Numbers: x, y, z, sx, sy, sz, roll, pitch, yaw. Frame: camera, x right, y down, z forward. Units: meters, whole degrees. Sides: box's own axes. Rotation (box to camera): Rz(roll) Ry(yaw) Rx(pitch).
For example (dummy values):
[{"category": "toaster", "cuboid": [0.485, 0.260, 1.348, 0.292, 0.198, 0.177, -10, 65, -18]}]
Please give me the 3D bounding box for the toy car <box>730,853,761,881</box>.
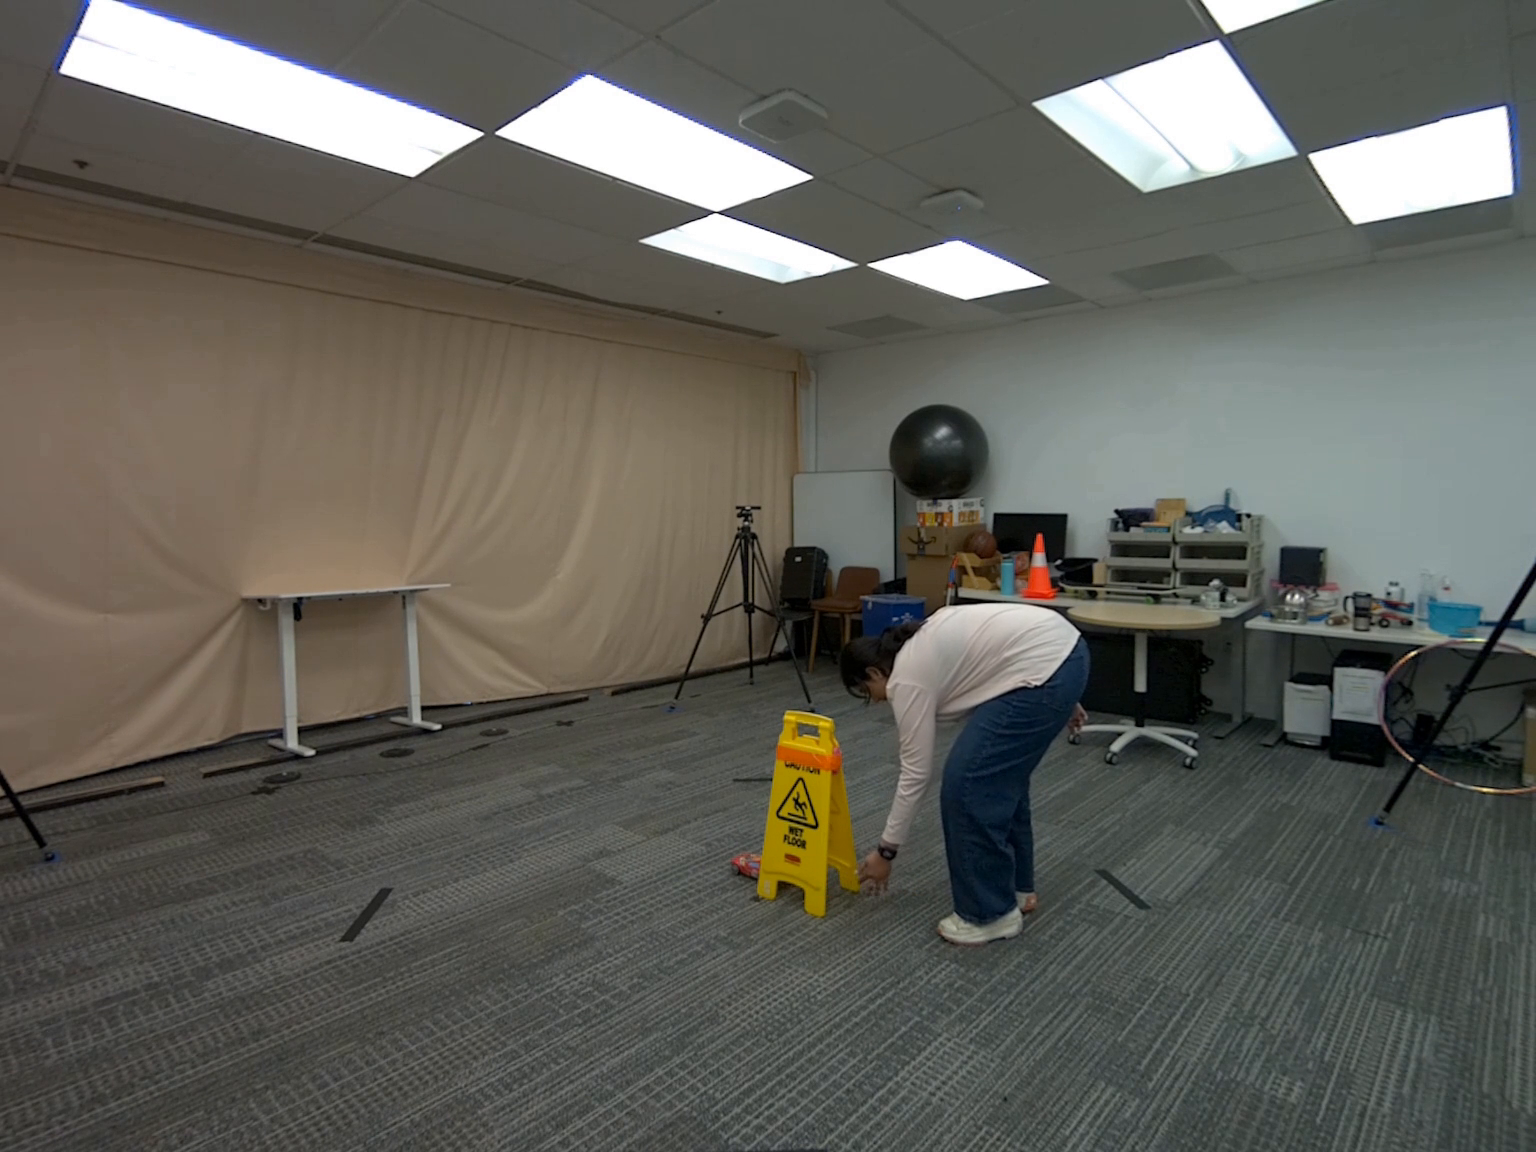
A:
[{"category": "toy car", "cuboid": [-0.007, 1.104, 3.148, 0.262, 0.083, 0.126, -8, -3, 41]}]
